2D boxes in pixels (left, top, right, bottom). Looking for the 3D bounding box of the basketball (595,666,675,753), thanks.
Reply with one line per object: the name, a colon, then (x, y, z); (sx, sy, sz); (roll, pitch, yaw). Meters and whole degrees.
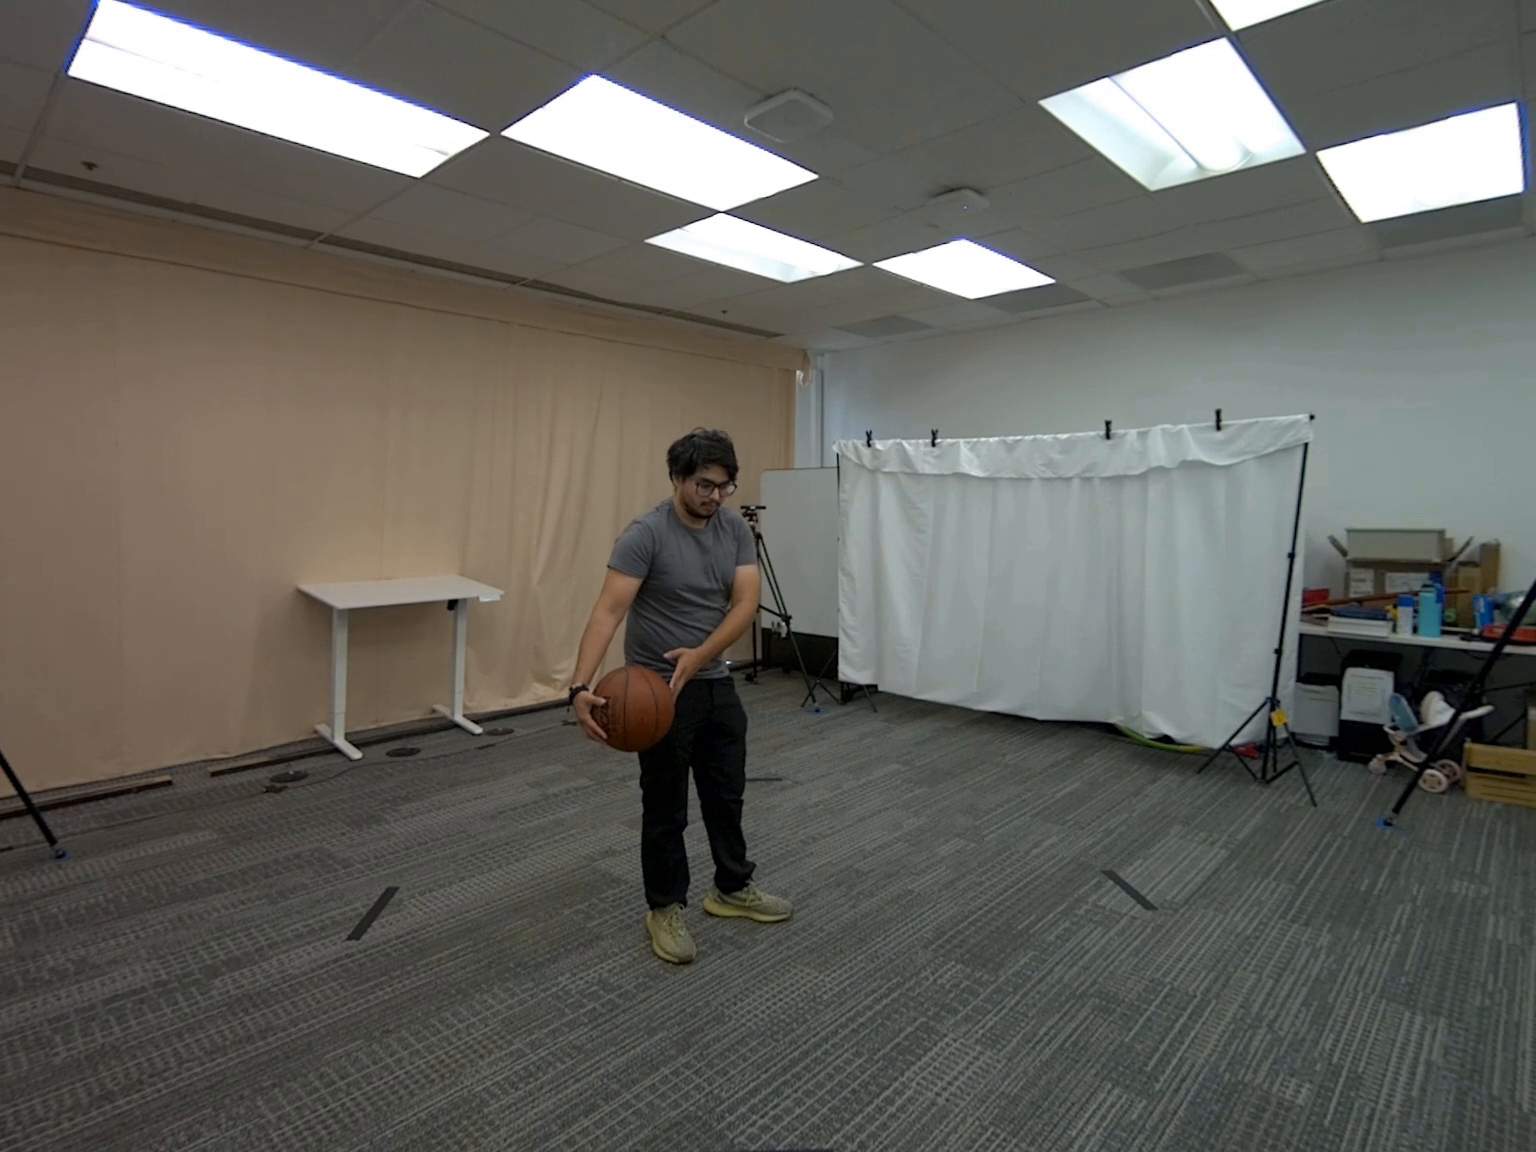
basketball: (-0.371, 0.371, 2.363); (0.236, 0.235, 0.237); (0, 4, -2)
